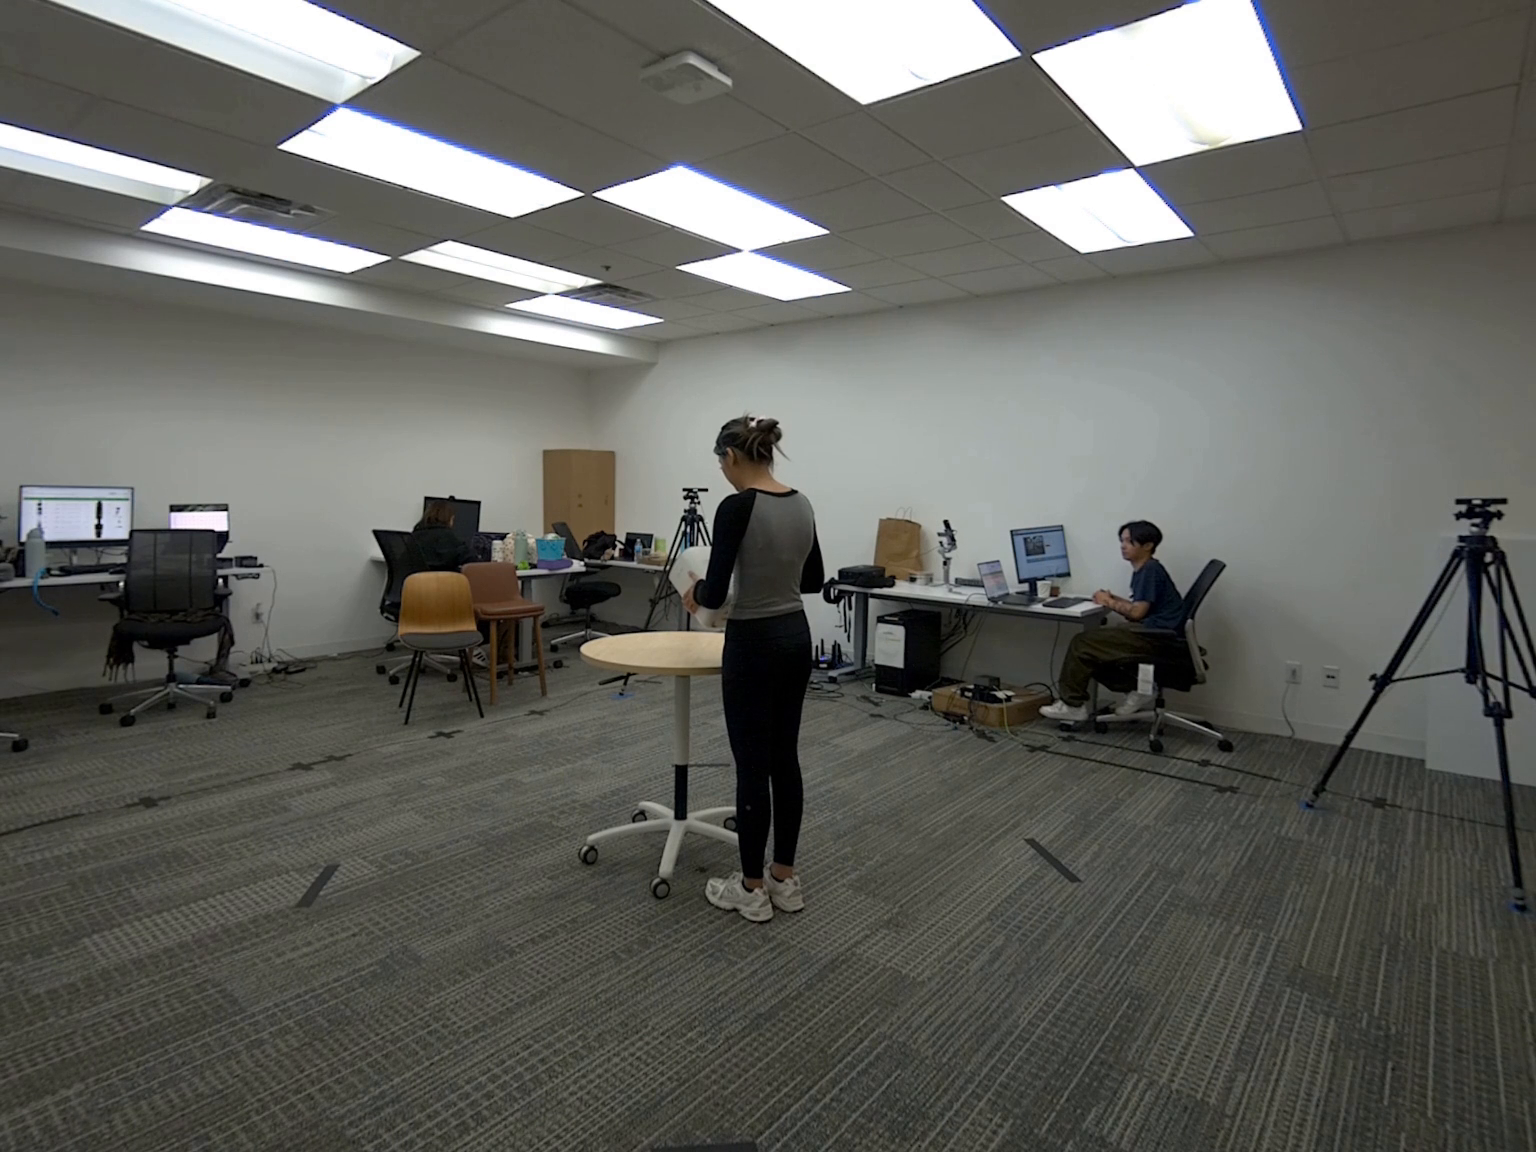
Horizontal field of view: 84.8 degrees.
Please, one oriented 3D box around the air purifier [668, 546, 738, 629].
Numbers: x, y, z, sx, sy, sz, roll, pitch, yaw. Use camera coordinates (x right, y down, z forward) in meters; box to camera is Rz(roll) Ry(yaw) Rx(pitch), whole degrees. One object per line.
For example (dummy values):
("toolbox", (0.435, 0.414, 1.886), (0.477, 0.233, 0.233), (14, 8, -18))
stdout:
("air purifier", (-0.213, 0.038, 2.999), (0.166, 0.170, 0.276), (1, 40, -44))
